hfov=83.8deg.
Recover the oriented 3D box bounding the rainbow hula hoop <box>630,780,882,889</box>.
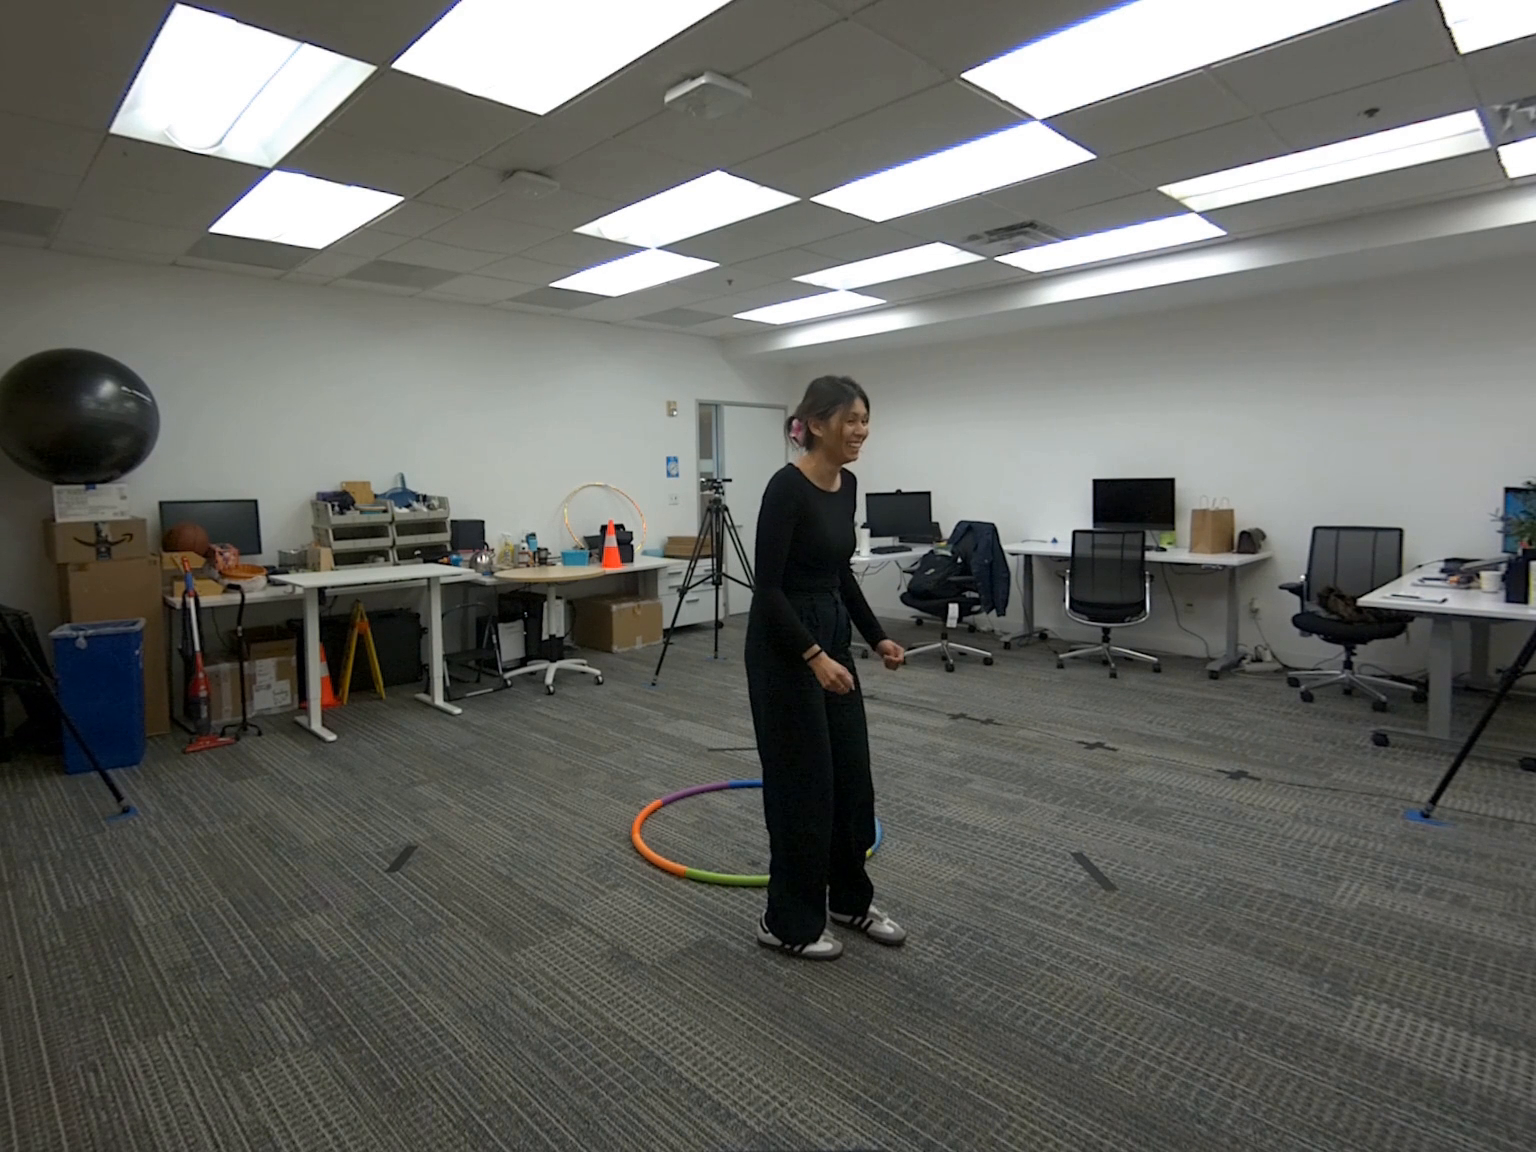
[{"bbox_3d":[-0.045,0.981,3.401,0.978,0.035,0.984,-1,7,-2],"label":"rainbow hula hoop"}]
